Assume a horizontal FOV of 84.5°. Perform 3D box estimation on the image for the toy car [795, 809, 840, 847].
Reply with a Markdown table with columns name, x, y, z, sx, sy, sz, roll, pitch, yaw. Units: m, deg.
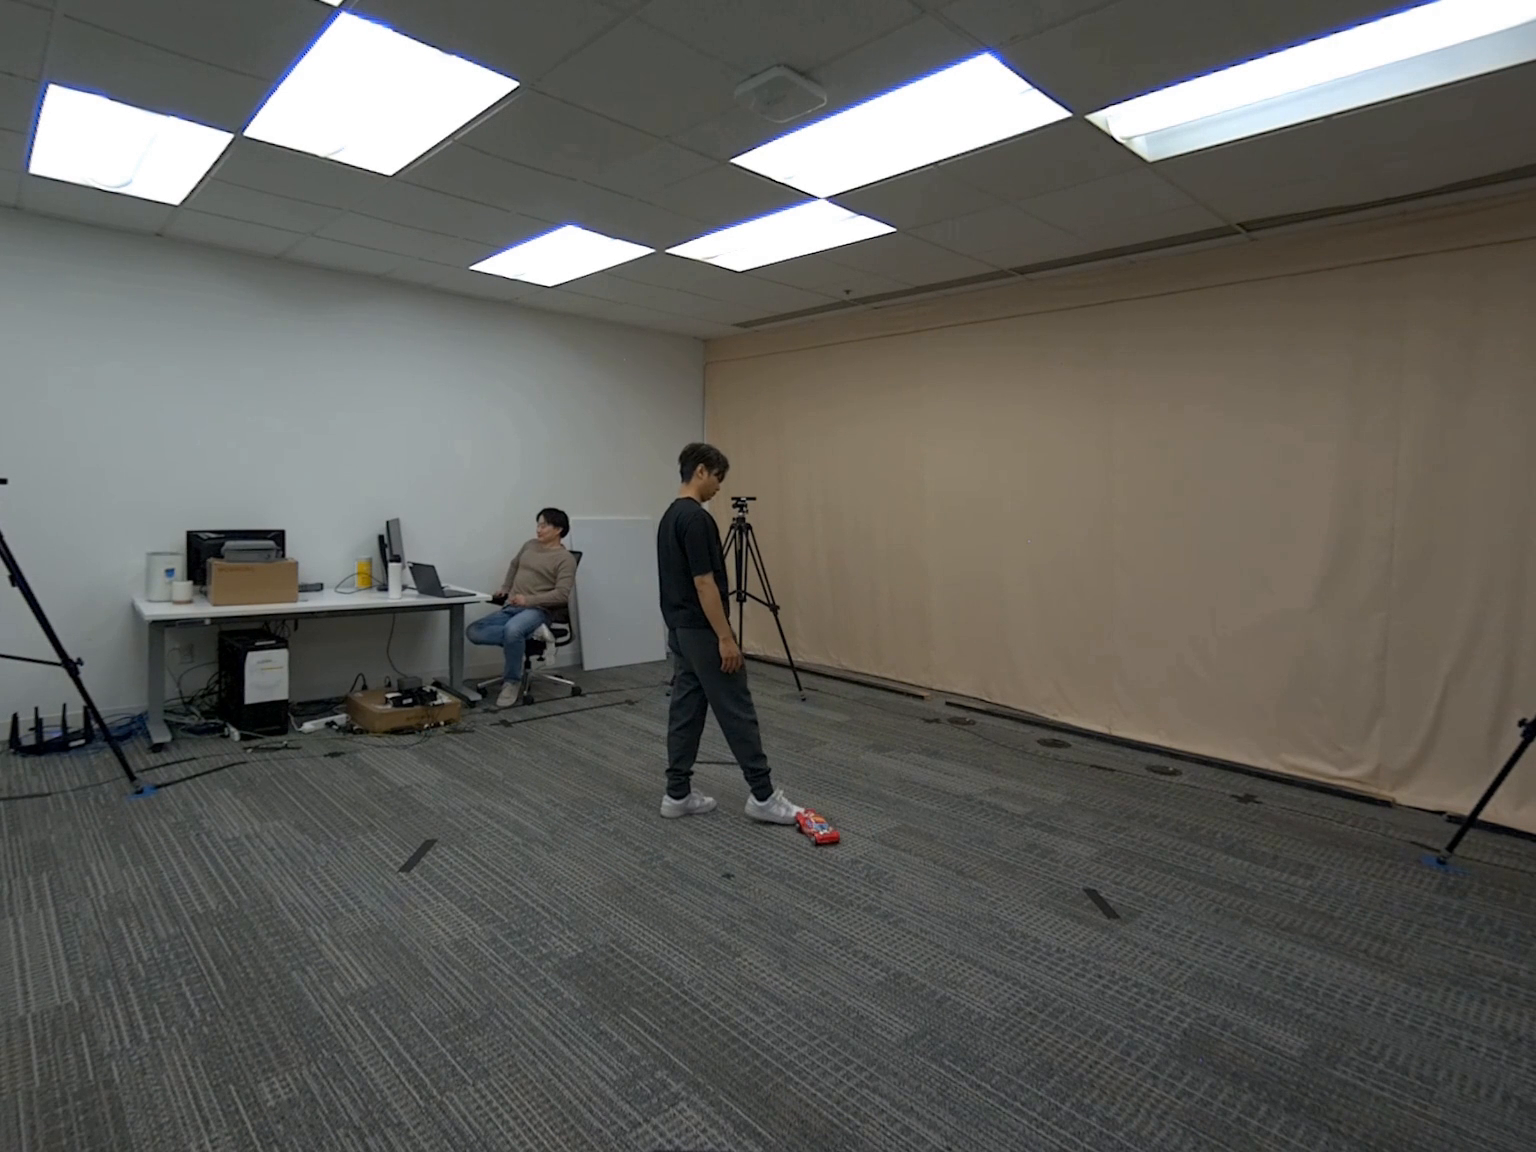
| name | x | y | z | sx | sy | sz | roll | pitch | yaw |
| --- | --- | --- | --- | --- | --- | --- | --- | --- | --- |
| toy car | 0.186 | 1.048 | 3.506 | 0.128 | 0.082 | 0.261 | 0 | 16 | -21 |
